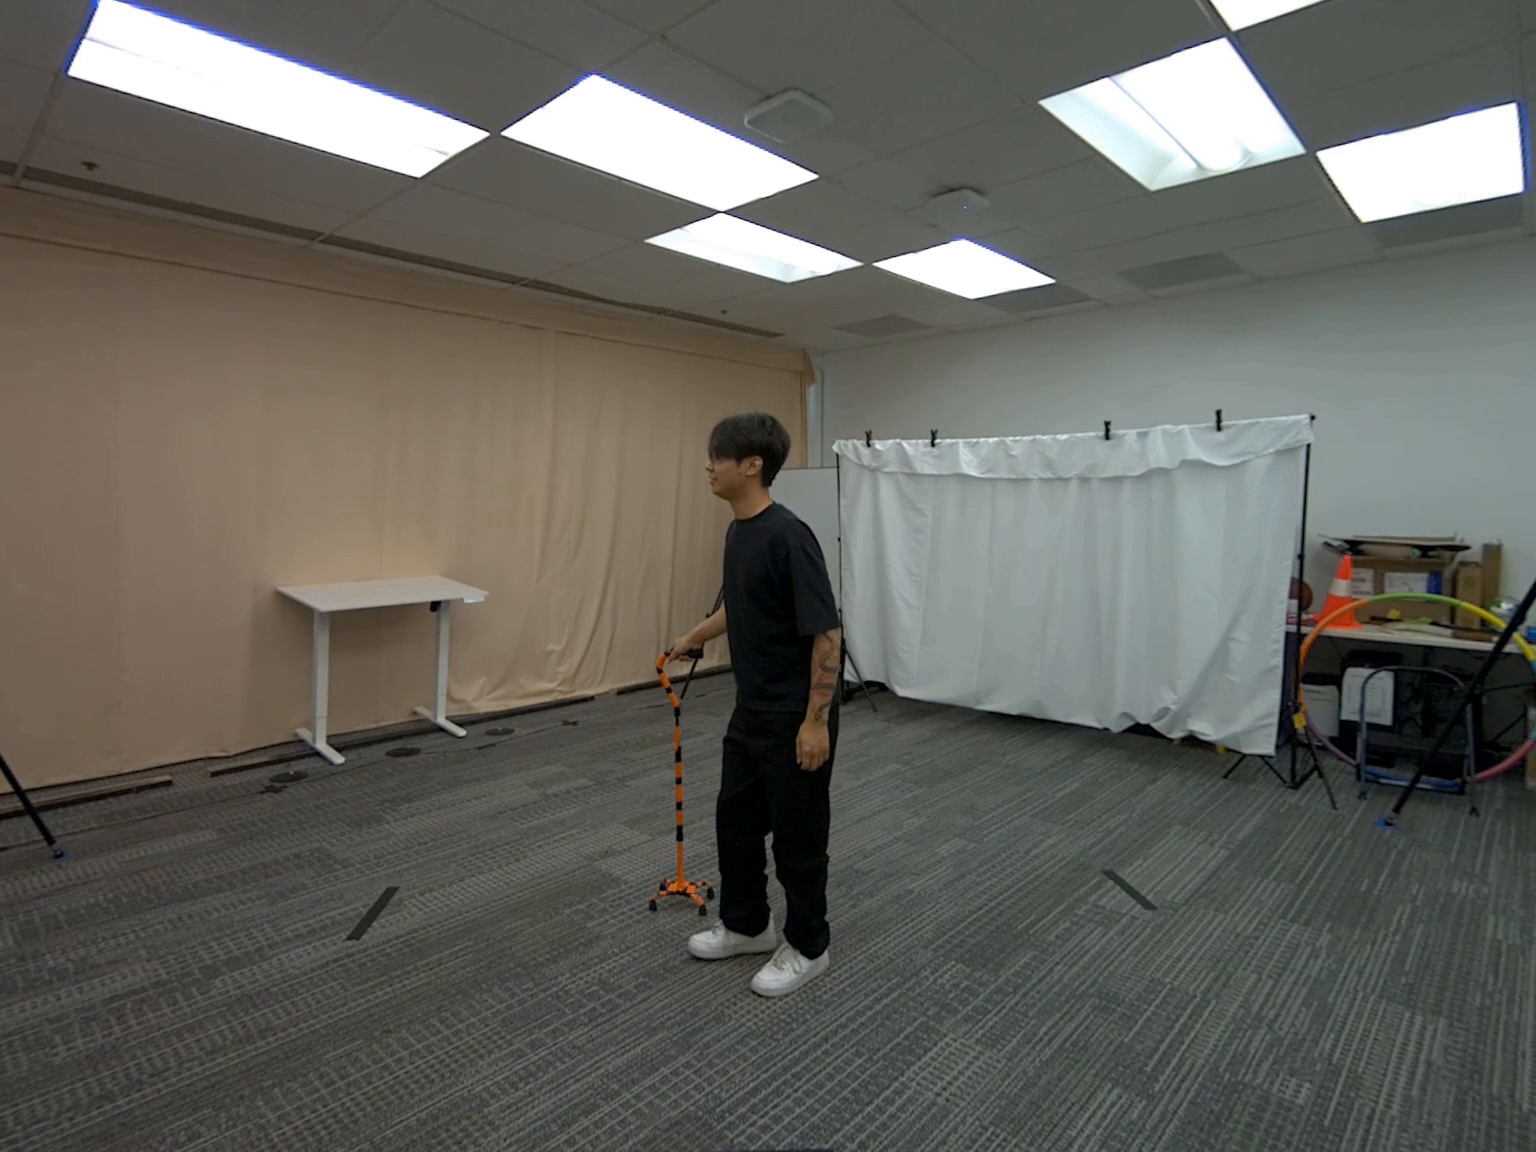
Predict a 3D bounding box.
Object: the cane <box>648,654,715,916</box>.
[{"bbox_3d":[-0.306,0.700,2.909,0.209,0.904,0.150,0,5,9],"label":"cane"}]
